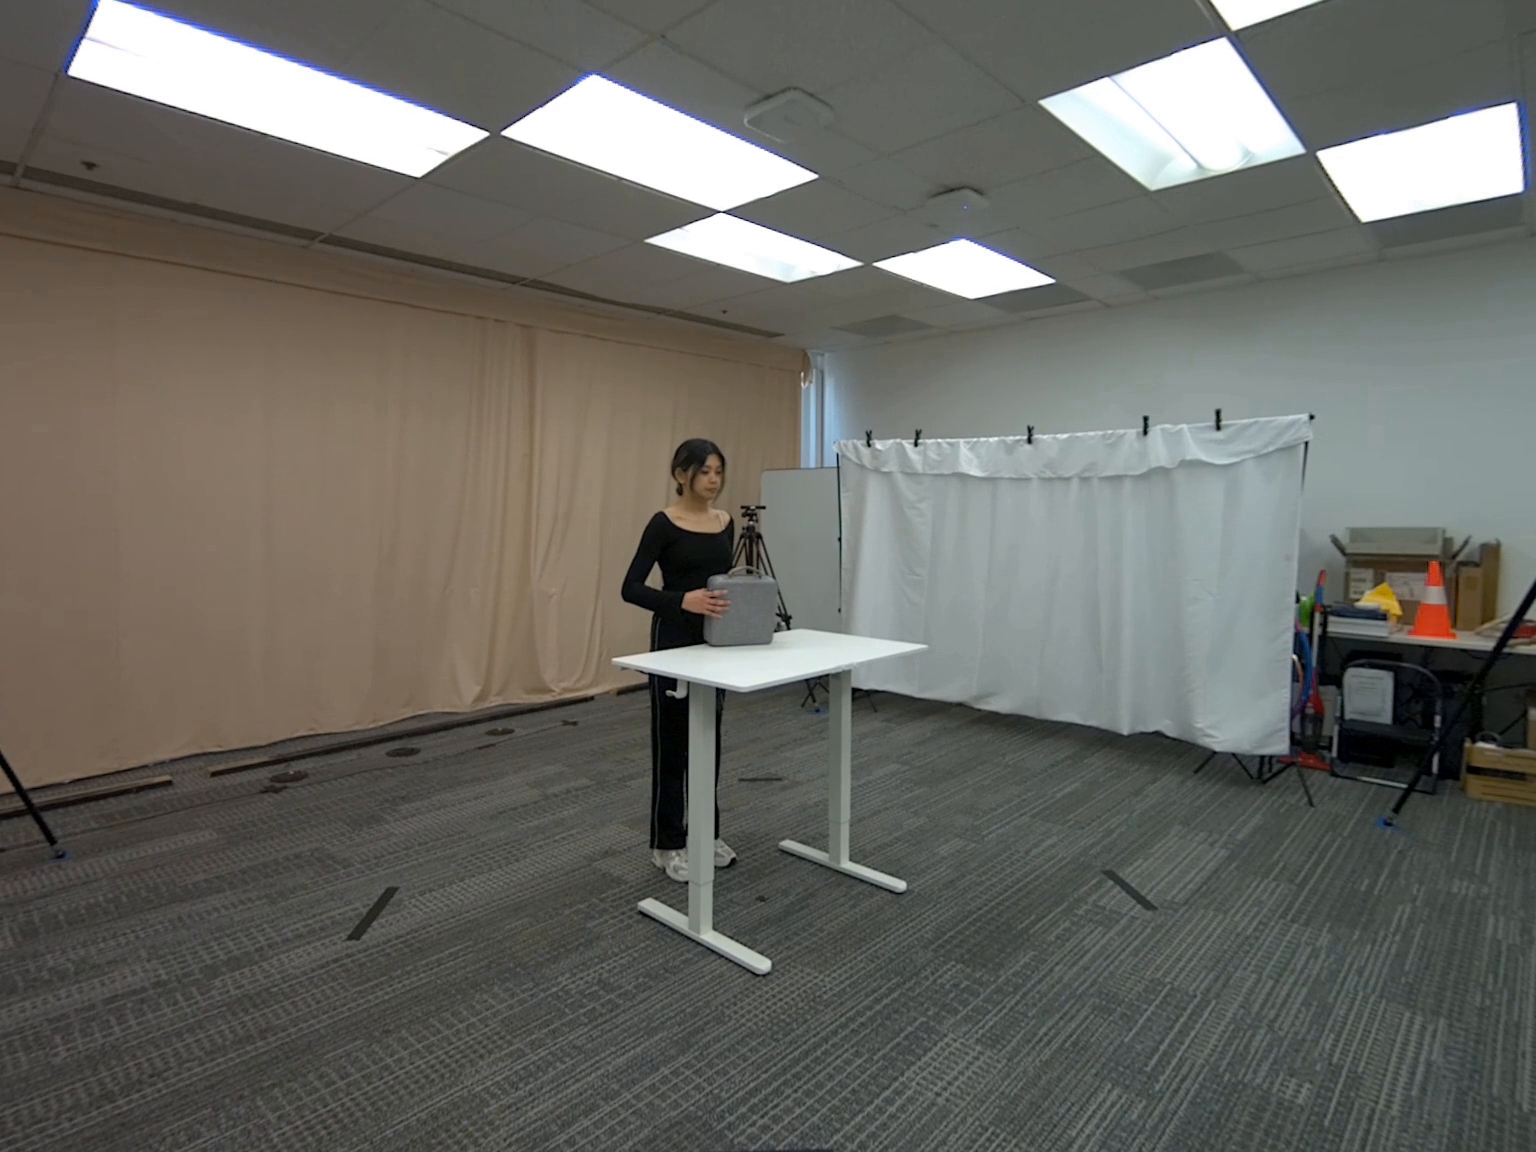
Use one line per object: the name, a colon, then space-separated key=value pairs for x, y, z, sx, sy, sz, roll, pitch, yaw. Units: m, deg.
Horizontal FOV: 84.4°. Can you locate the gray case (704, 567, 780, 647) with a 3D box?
gray case: x=-0.095 y=0.124 z=3.064 sx=0.252 sy=0.259 sz=0.107 roll=0 pitch=12 yaw=-18
